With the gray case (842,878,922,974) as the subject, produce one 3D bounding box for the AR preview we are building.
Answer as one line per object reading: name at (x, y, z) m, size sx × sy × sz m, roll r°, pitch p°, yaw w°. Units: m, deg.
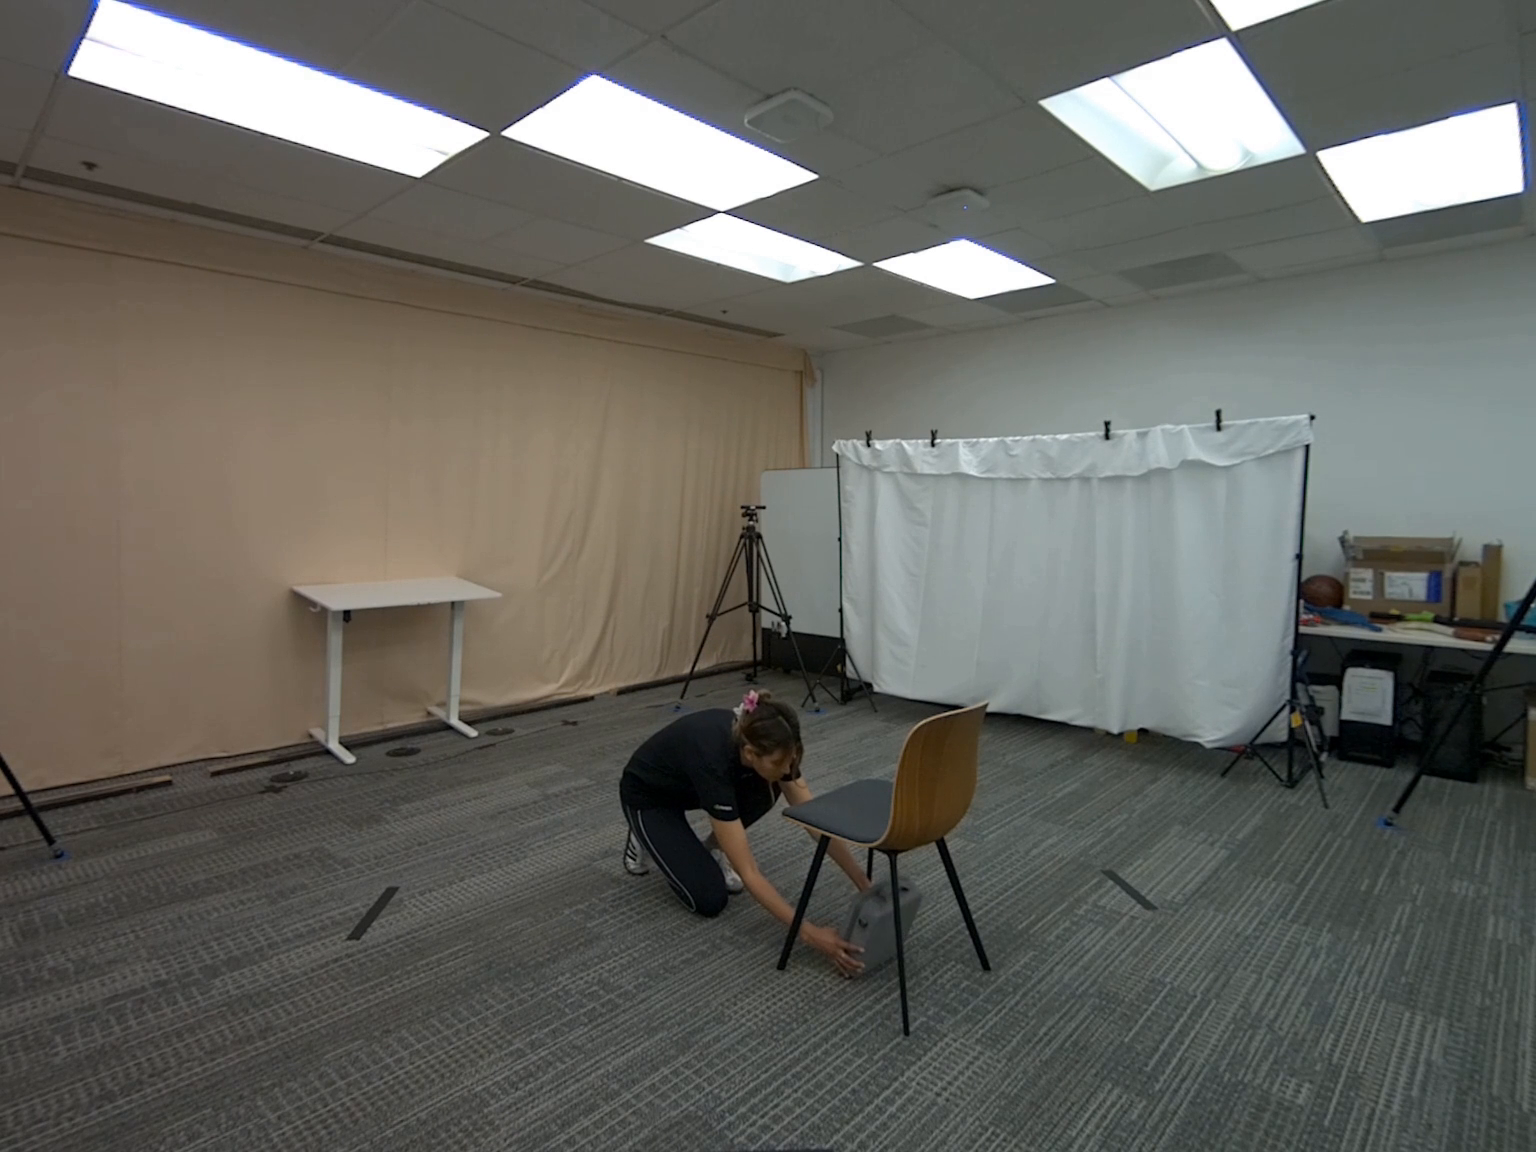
gray case at (0.342, 1.048, 2.531) m, size 0.249 × 0.259 × 0.108 m, roll -2°, pitch 24°, yaw -41°
